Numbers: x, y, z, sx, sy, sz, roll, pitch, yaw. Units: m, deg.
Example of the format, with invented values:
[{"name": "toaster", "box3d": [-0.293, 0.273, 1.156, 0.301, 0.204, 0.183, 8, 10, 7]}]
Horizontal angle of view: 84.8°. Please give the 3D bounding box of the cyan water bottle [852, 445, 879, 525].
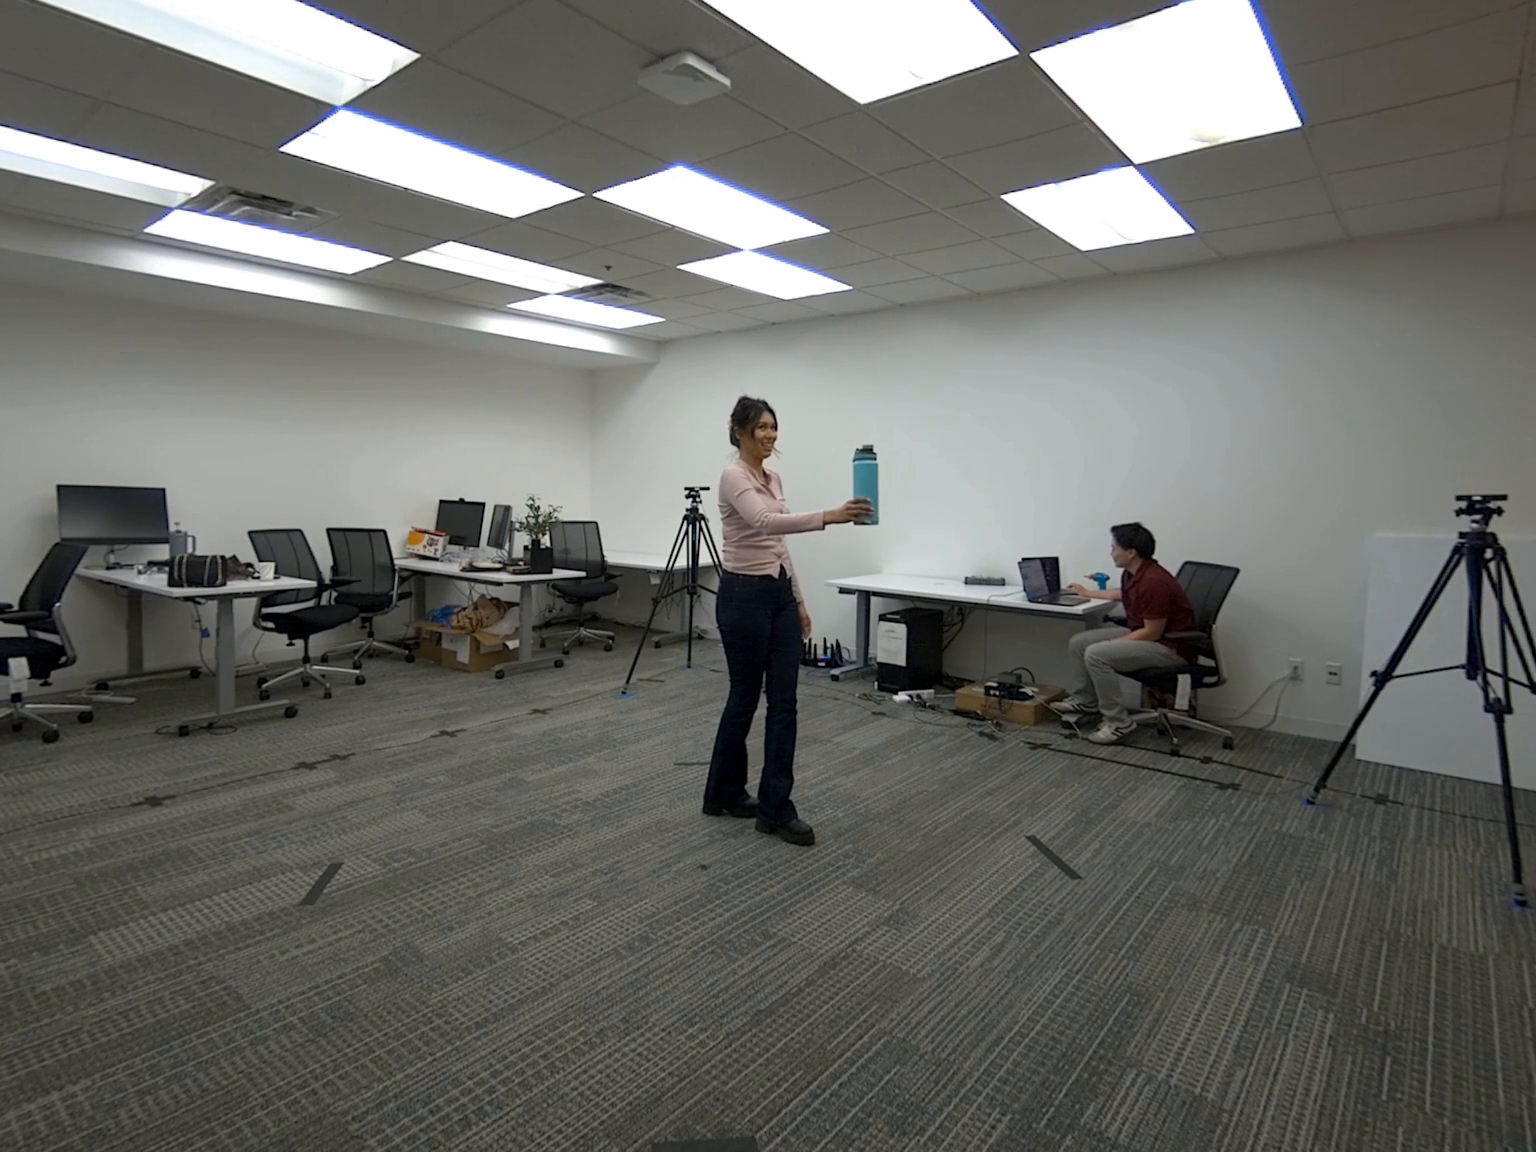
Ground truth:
[{"name": "cyan water bottle", "box3d": [0.339, -0.327, 3.016, 0.092, 0.284, 0.092, 0, -2, -2]}]
